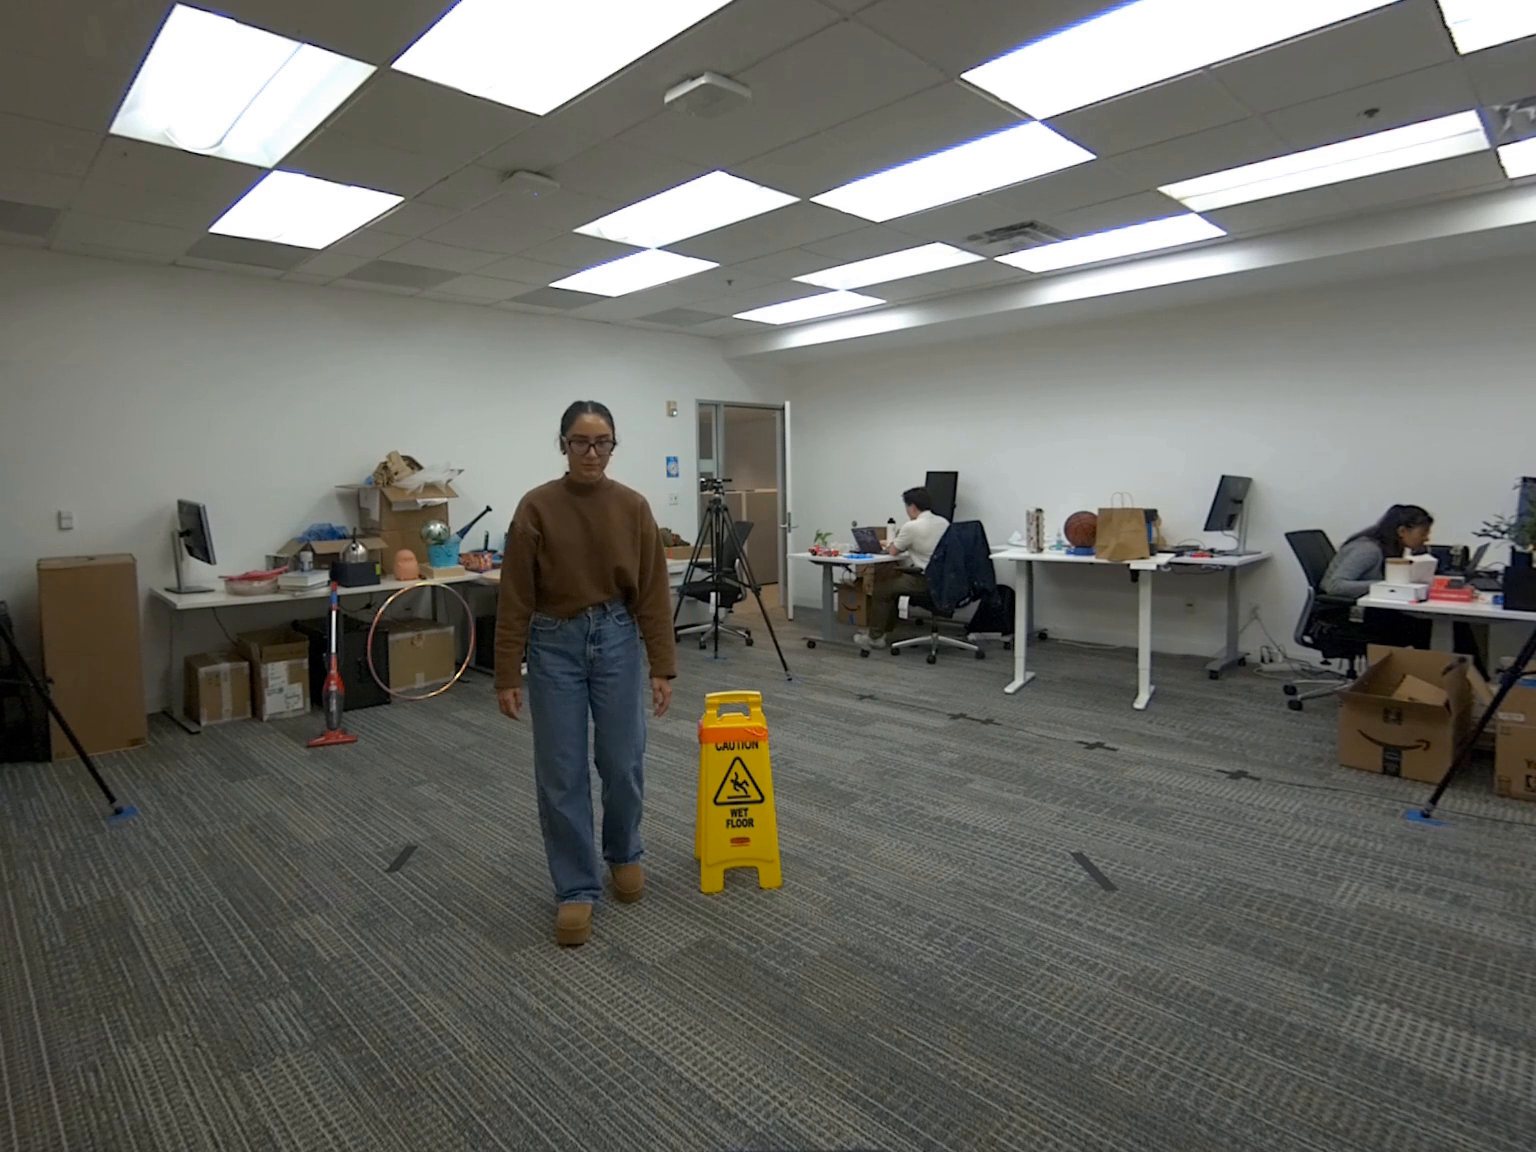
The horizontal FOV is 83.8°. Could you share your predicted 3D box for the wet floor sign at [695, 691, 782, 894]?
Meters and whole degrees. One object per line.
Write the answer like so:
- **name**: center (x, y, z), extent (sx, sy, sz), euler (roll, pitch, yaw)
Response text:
- **wet floor sign**: center (-0.112, 0.730, 3.016), extent (0.280, 0.643, 0.293), euler (-2, 5, -8)
